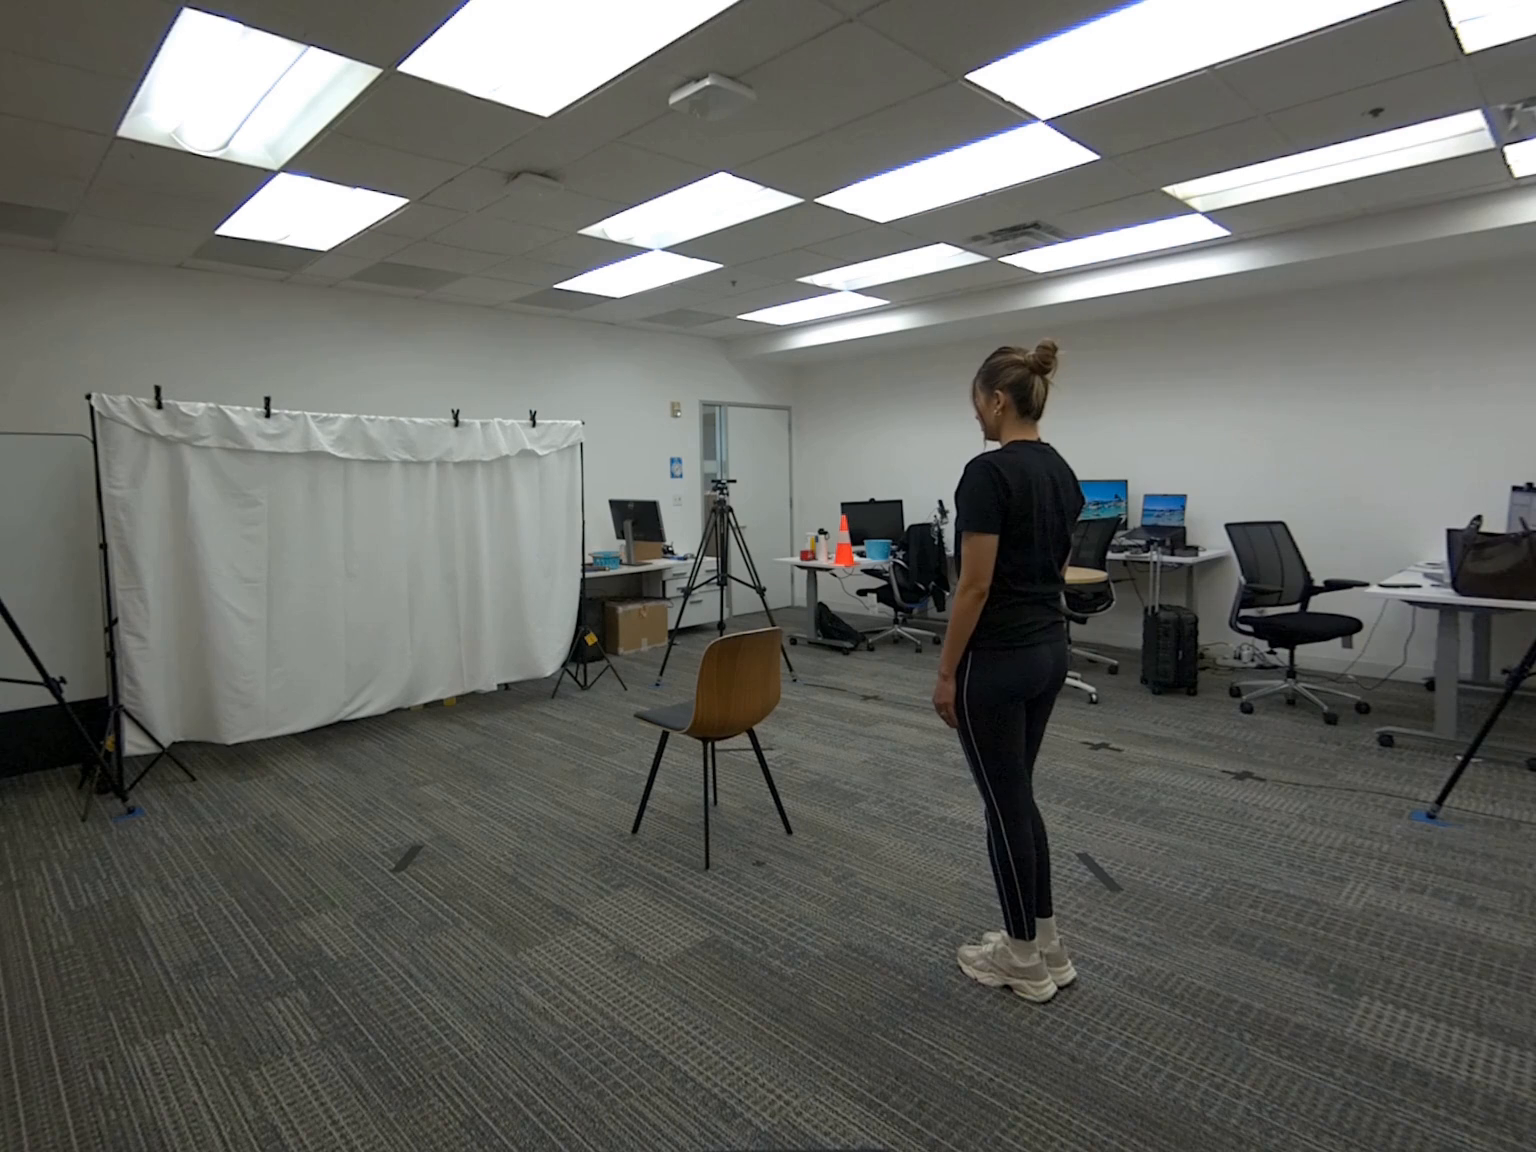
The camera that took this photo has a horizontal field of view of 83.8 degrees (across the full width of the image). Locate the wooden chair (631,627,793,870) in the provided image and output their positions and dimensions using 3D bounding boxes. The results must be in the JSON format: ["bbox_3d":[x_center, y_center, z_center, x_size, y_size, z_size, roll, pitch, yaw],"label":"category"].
[{"bbox_3d":[-0.235,0.595,3.353,0.465,0.872,0.540,-5,10,-44],"label":"wooden chair"}]
